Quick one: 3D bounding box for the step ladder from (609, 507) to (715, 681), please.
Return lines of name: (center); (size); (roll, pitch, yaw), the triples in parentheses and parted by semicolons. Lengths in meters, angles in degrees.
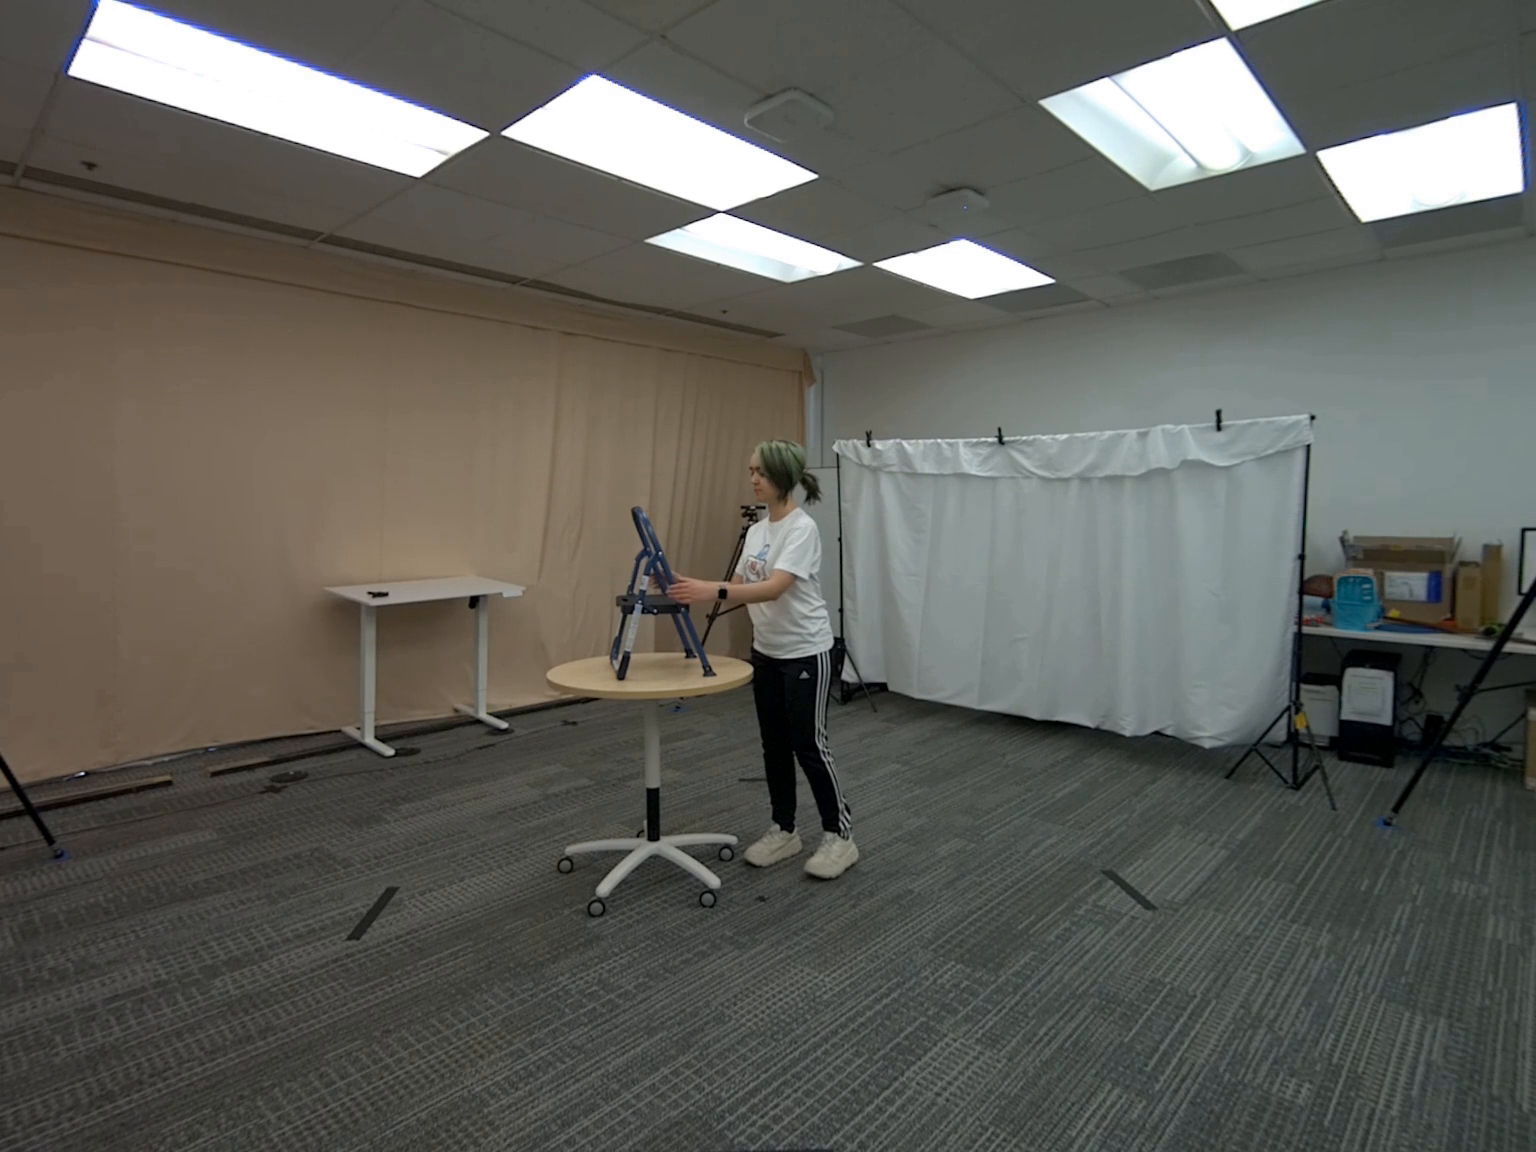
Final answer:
step ladder: (-0.414, 0.046, 3.159); (0.345, 0.605, 0.437); (-2, 2, -13)
